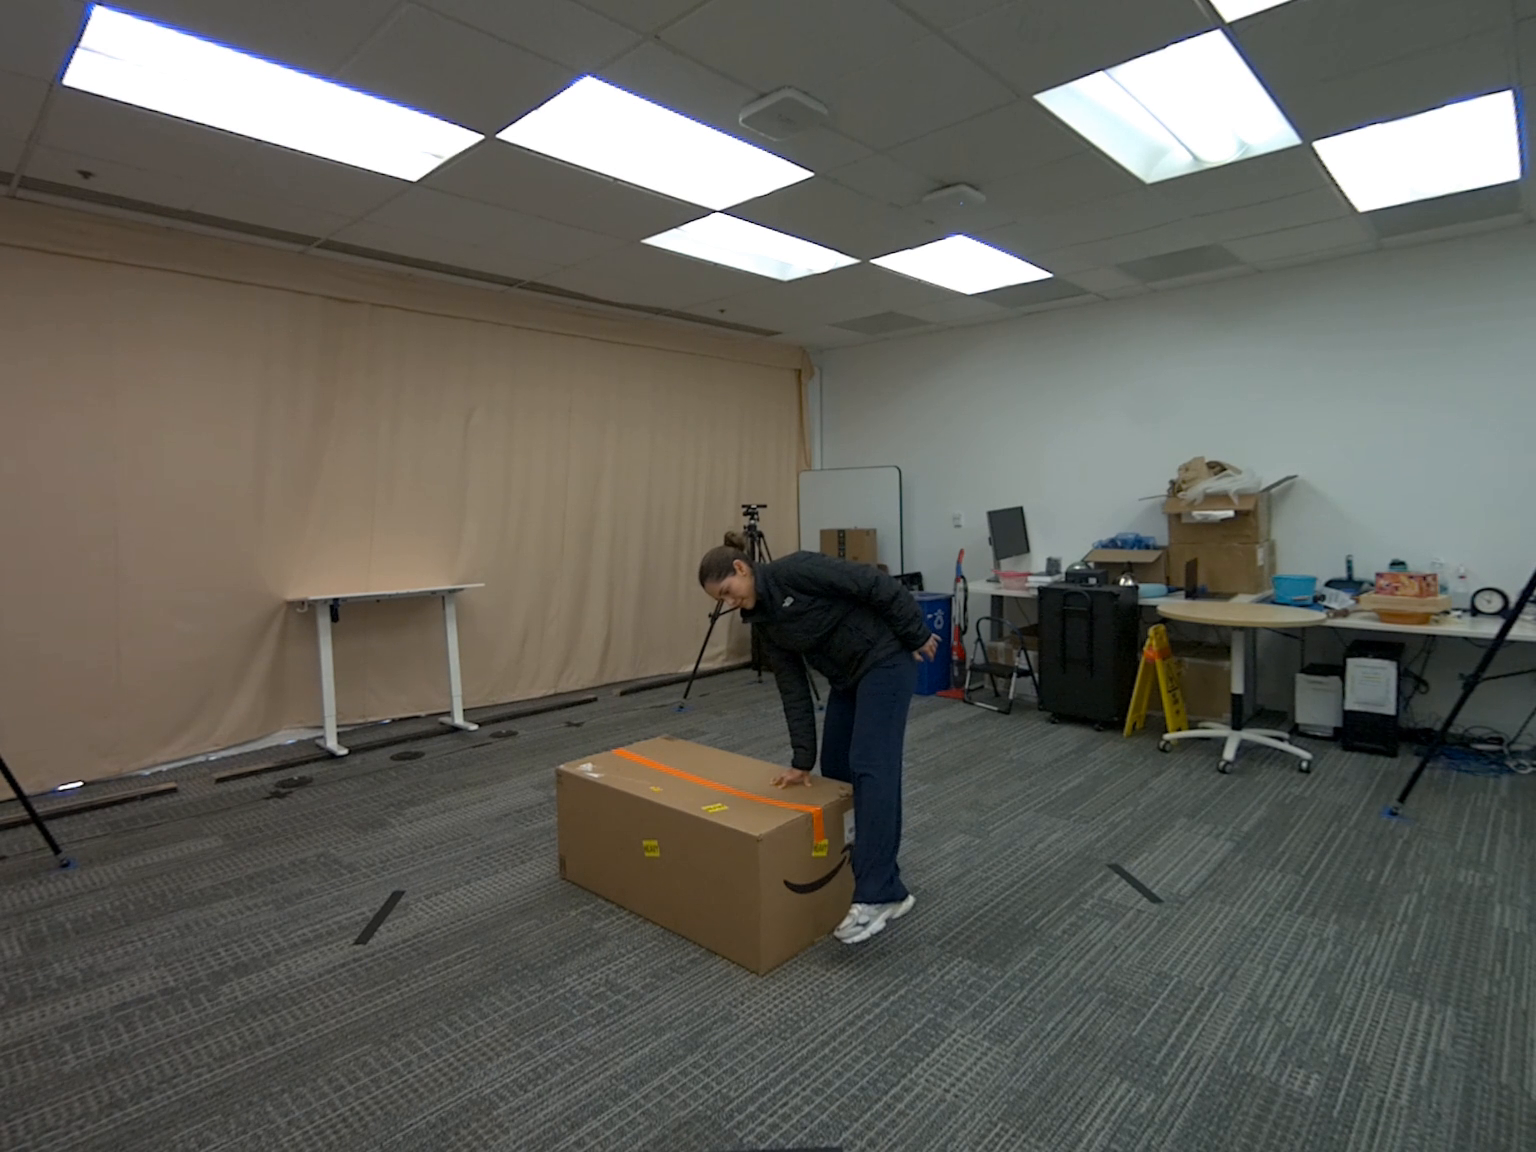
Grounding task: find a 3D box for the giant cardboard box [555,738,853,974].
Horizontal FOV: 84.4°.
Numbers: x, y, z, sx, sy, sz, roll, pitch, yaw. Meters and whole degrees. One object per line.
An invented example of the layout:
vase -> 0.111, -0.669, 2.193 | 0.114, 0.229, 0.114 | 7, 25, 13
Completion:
giant cardboard box -> -0.214, 0.933, 3.031 | 1.061, 0.446, 0.566 | 2, 4, 42
